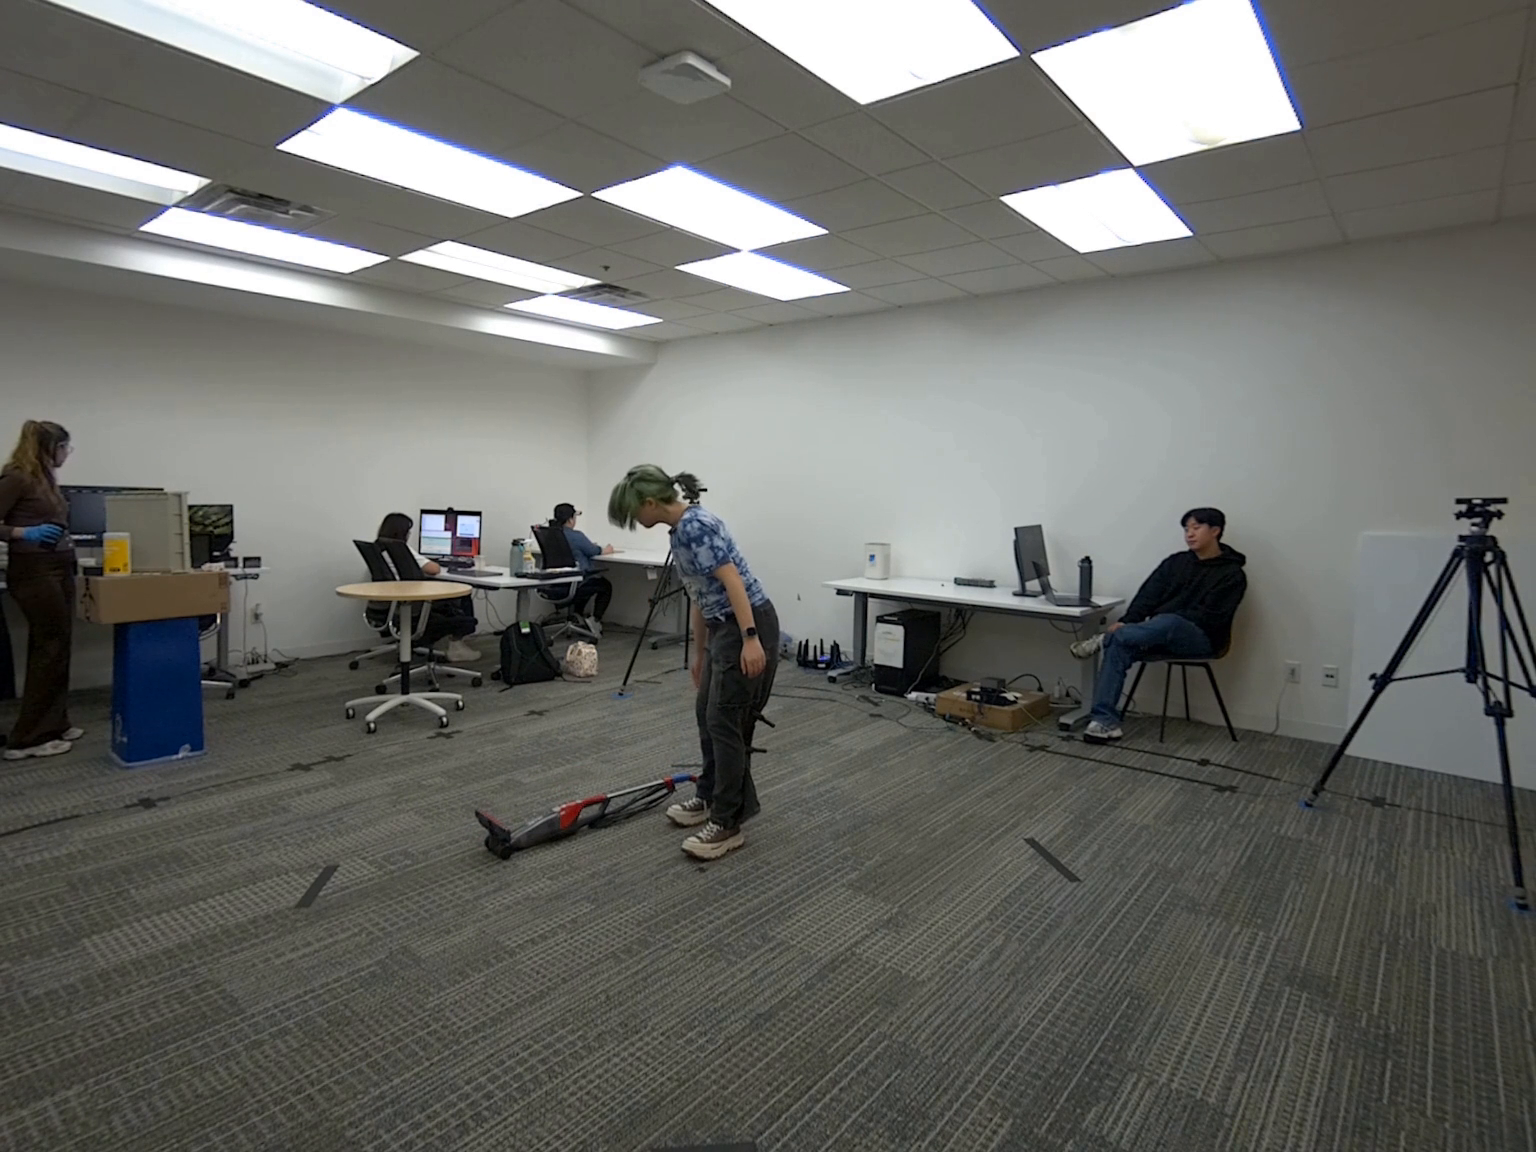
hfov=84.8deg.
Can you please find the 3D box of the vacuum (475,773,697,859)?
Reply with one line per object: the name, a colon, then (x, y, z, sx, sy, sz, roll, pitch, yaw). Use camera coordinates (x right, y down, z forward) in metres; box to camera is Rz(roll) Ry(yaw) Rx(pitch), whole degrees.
vacuum: (-0.678, 0.960, 3.526, 1.017, 0.143, 0.262, -3, 8, -43)
